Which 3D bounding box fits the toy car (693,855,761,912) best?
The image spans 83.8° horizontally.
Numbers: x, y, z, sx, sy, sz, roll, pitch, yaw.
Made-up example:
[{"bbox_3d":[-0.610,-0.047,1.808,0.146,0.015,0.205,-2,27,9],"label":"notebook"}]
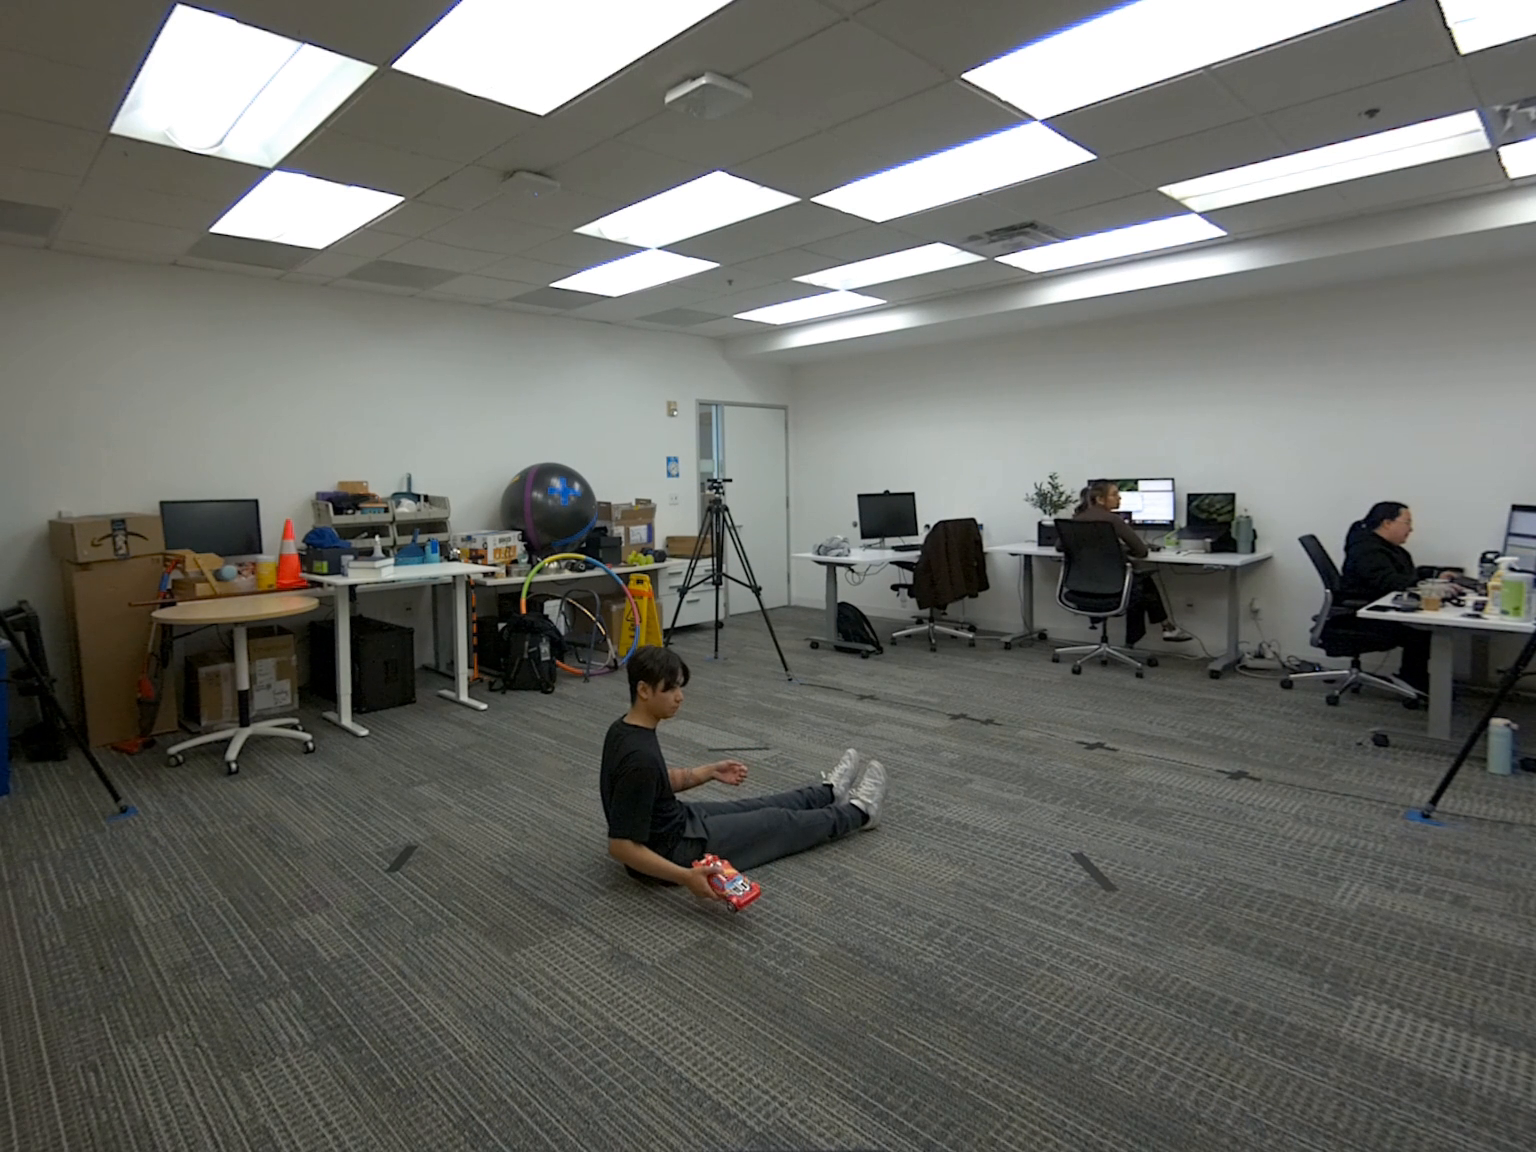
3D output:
[{"bbox_3d":[-0.136,0.976,2.756,0.128,0.081,0.264,-22,35,-36],"label":"toy car"}]
